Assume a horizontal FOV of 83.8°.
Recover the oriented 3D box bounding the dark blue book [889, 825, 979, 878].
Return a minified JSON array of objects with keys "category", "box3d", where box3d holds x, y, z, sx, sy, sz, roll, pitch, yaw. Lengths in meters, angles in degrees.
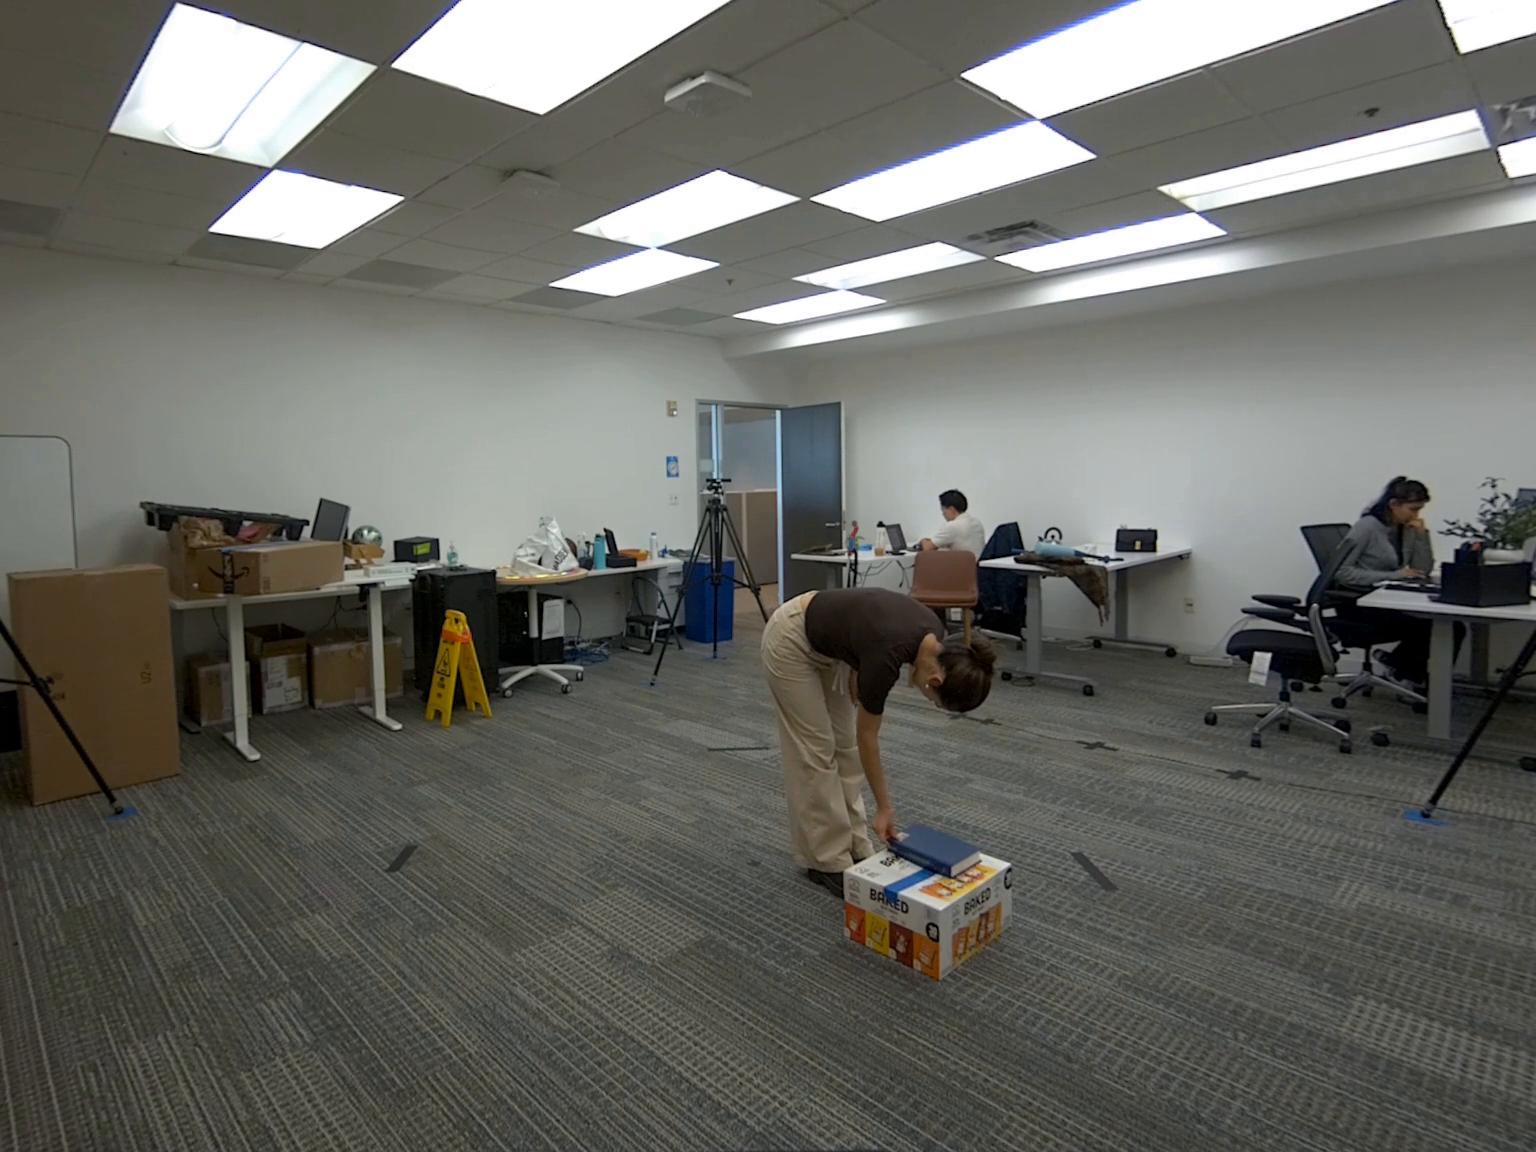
[{"category":"dark blue book","box3d":[0.524,0.860,2.691,0.159,0.045,0.253,-10,12,-41]}]
